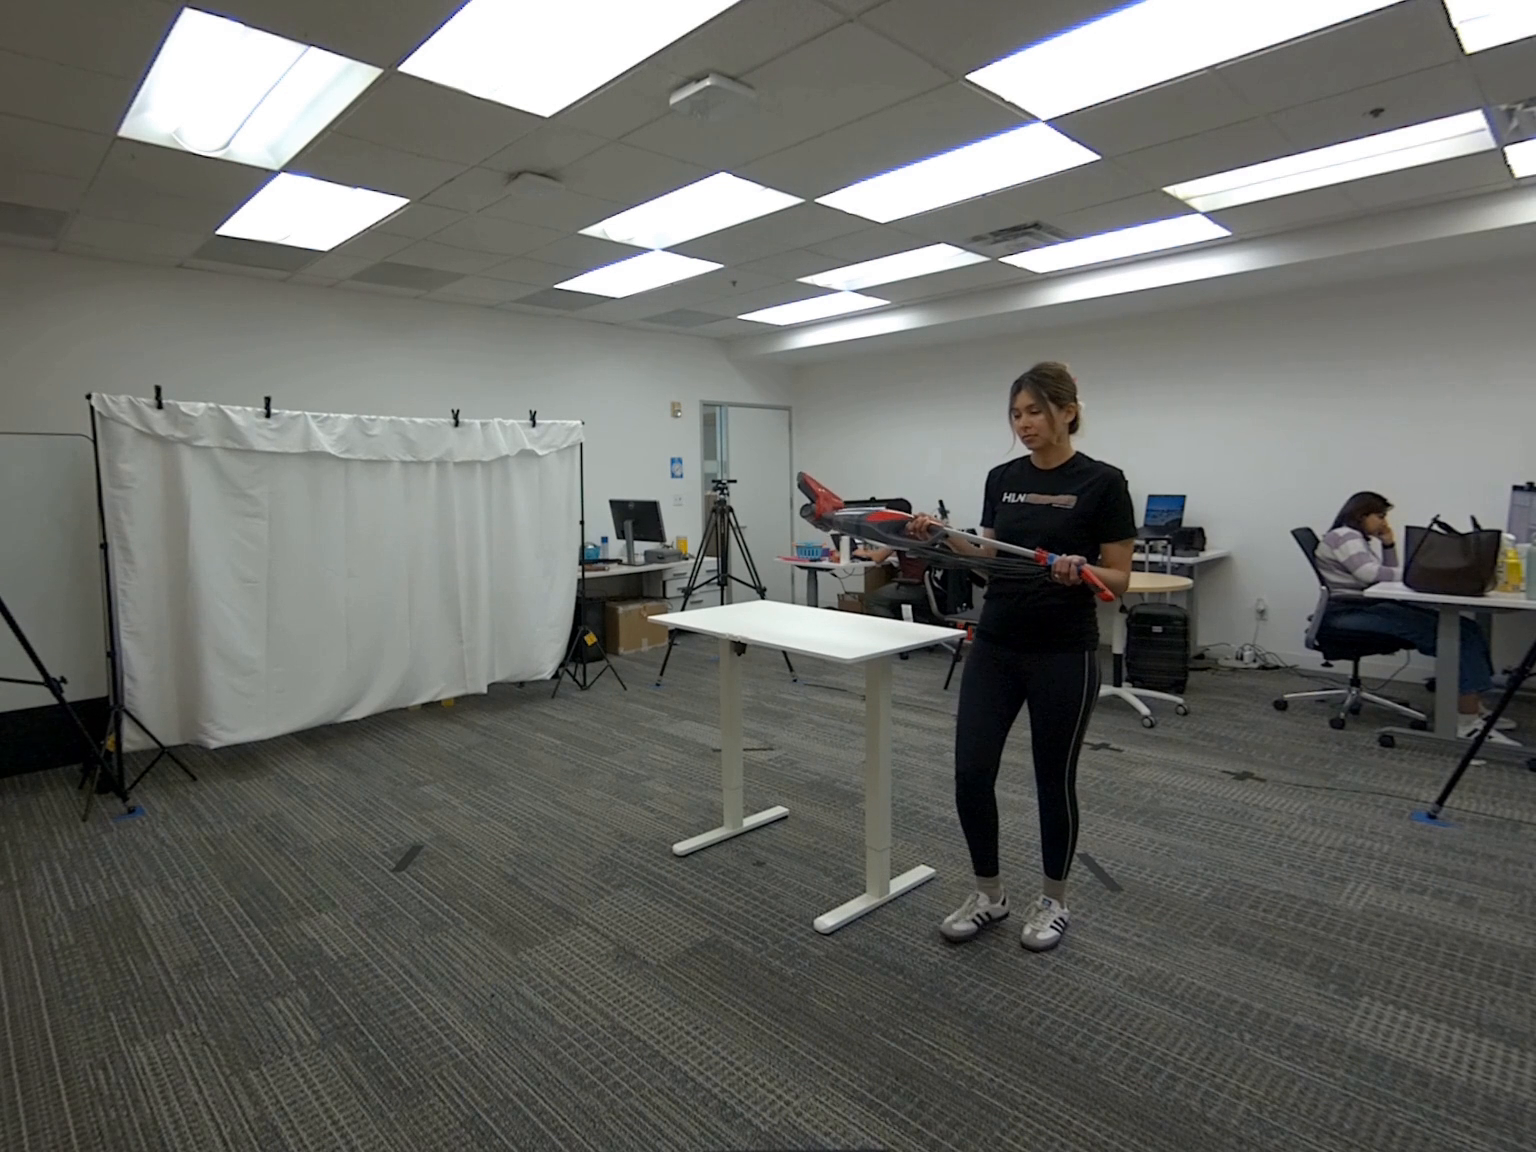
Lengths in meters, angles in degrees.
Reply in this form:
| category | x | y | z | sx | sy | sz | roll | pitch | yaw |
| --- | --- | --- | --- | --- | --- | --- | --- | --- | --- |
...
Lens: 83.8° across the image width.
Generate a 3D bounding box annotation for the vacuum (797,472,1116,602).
| category | x | y | z | sx | sy | sz | roll | pitch | yaw |
| --- | --- | --- | --- | --- | --- | --- | --- | --- | --- |
| vacuum | 0.489 | -0.099 | 2.515 | 0.243 | 0.144 | 1.089 | 30 | -4 | -43 |
